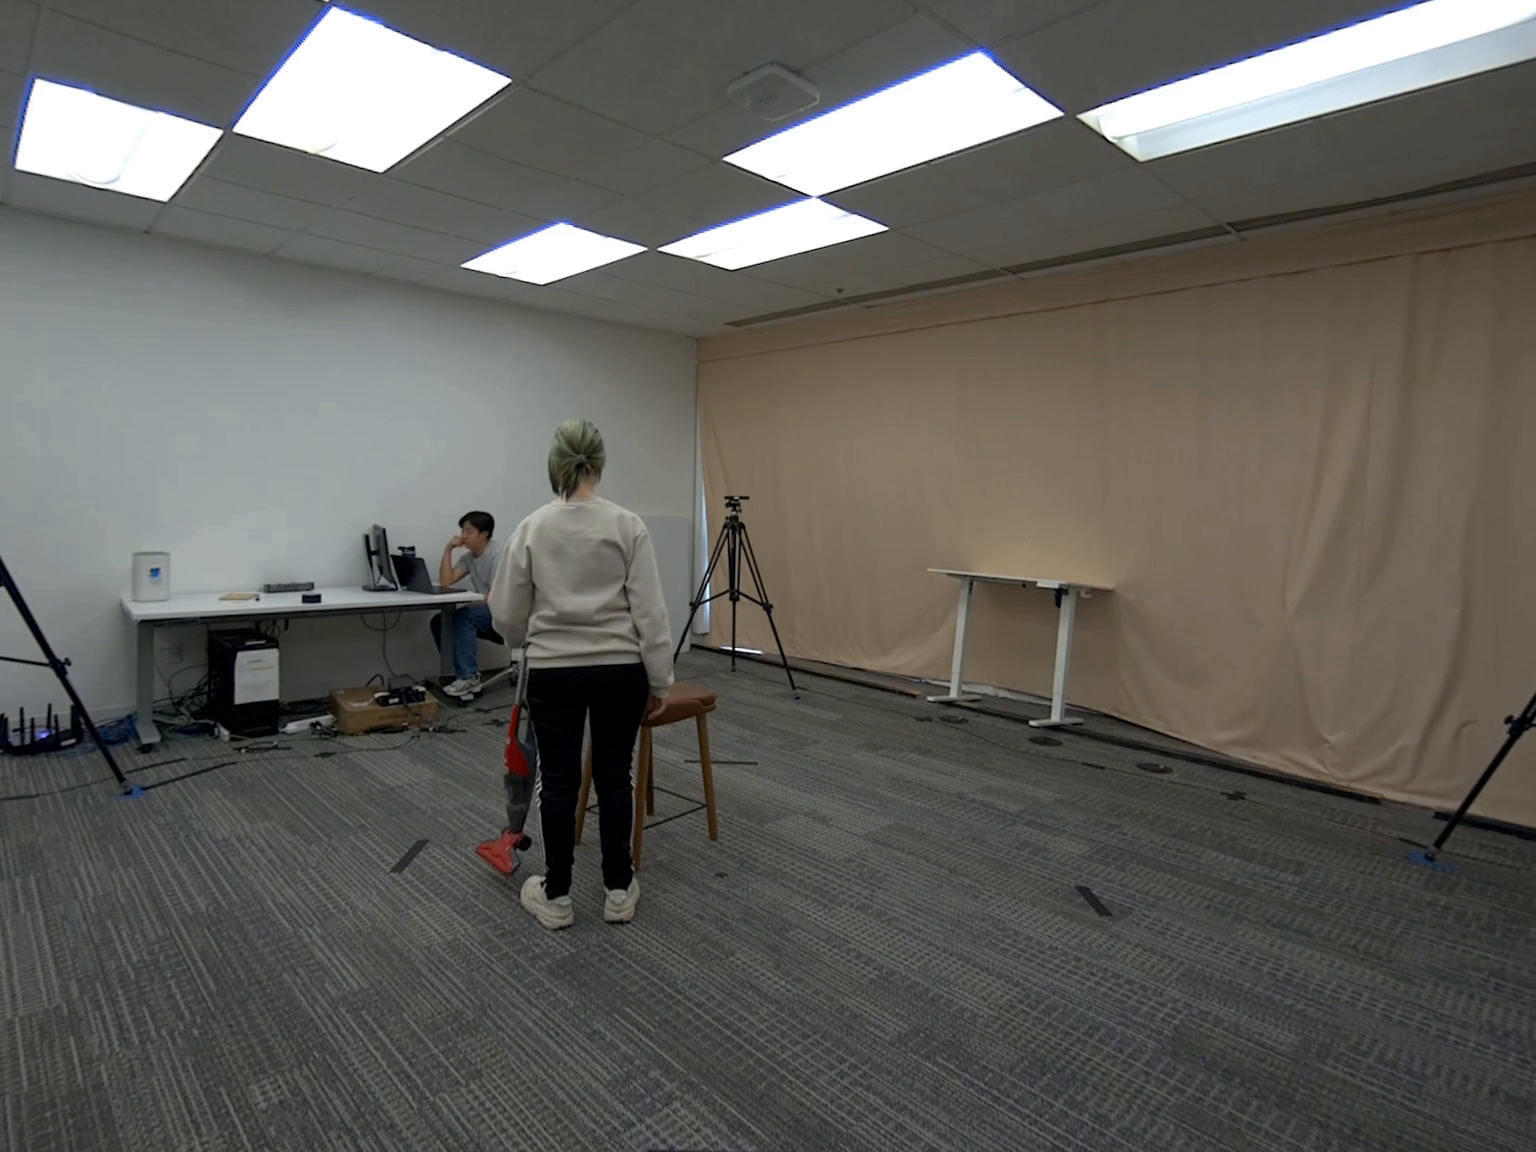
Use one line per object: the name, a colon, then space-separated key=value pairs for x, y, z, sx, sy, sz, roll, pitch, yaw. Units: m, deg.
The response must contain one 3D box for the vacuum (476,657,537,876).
vacuum: x=-0.874 y=0.472 z=3.019 sx=0.259 sy=1.051 sz=0.140 roll=4 pitch=-4 yaw=42
